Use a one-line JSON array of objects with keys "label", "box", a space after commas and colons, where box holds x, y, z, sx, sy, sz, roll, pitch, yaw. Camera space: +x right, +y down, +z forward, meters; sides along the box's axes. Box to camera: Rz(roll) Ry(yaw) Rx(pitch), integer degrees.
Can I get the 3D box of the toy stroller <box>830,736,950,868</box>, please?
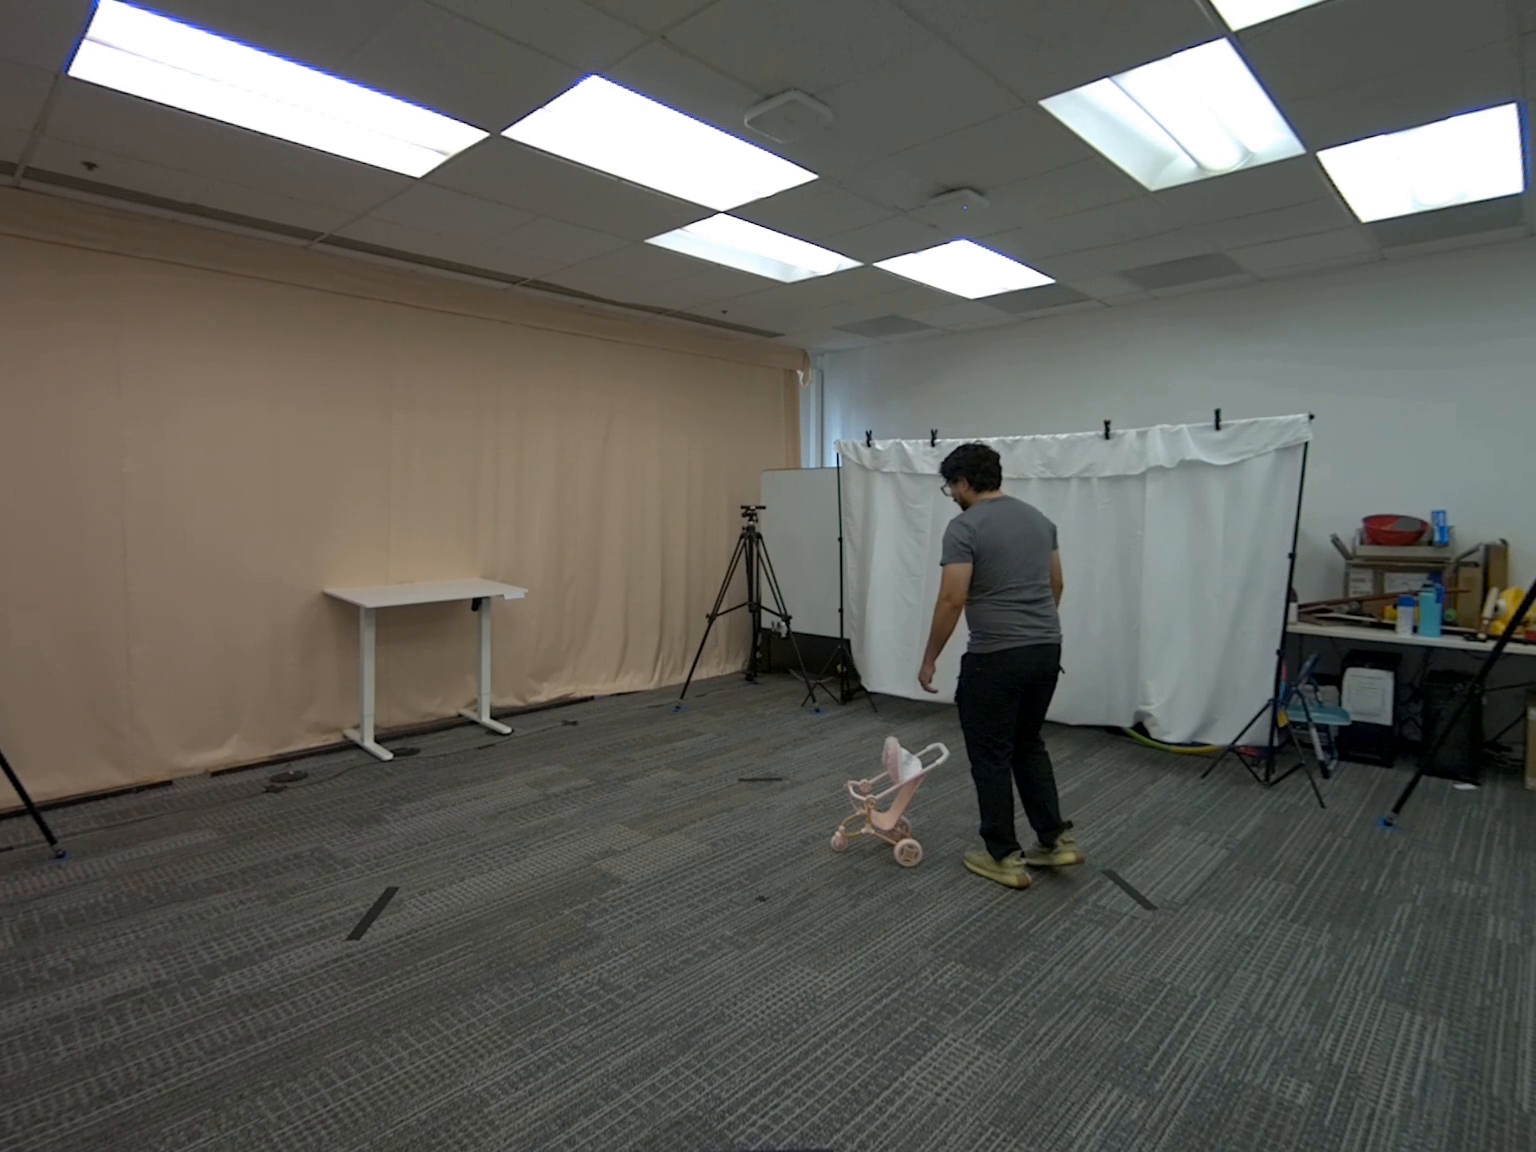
[{"label": "toy stroller", "box": [0.480, 0.888, 3.372, 0.344, 0.534, 0.280, 17, 5, 6]}]
